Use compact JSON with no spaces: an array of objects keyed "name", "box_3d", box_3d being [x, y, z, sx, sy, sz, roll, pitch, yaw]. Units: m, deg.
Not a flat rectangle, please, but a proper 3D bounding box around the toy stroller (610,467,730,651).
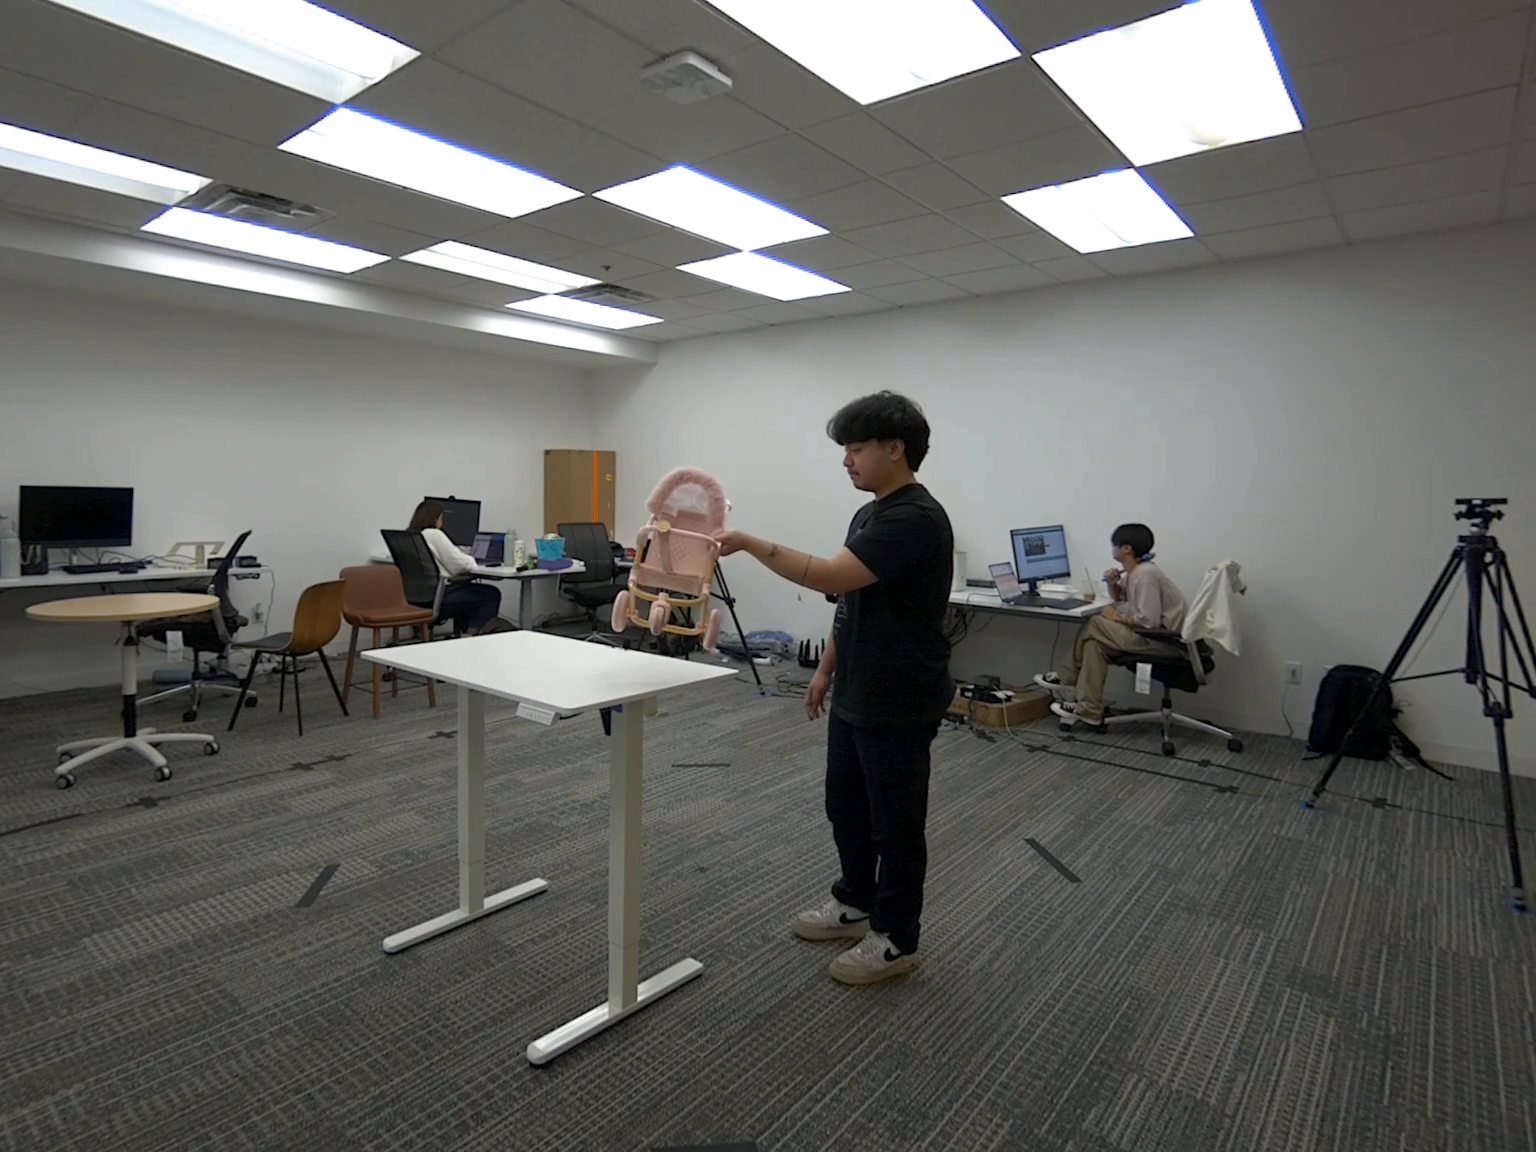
[{"name":"toy stroller","box_3d":[-0.243,-0.065,2.241,0.283,0.544,0.333,8,-23,5]}]
